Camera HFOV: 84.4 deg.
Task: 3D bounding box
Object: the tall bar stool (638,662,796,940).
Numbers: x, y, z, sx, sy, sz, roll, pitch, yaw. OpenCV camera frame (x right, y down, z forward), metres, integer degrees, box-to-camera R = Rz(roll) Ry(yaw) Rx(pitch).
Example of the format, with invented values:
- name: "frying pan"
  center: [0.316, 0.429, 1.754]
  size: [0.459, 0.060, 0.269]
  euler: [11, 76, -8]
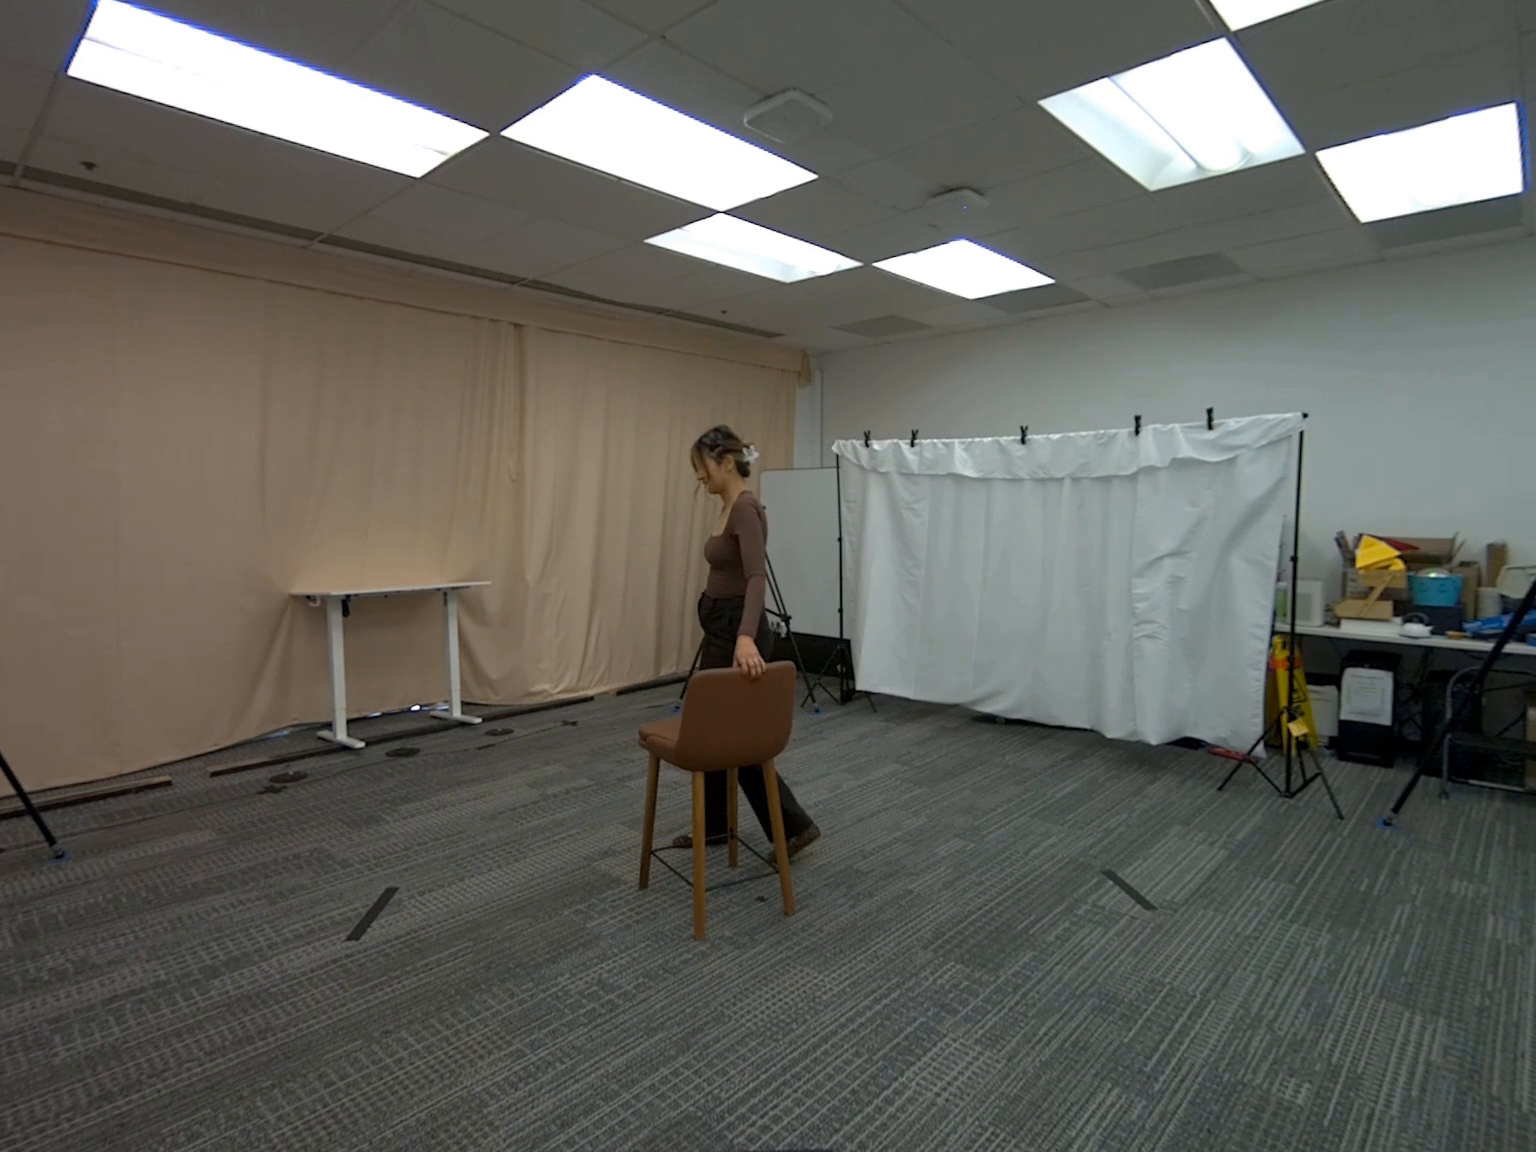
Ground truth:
- name: "tall bar stool"
  center: [-0.181, 0.711, 2.950]
  size: [0.444, 0.887, 0.482]
  euler: [-2, 6, -31]
